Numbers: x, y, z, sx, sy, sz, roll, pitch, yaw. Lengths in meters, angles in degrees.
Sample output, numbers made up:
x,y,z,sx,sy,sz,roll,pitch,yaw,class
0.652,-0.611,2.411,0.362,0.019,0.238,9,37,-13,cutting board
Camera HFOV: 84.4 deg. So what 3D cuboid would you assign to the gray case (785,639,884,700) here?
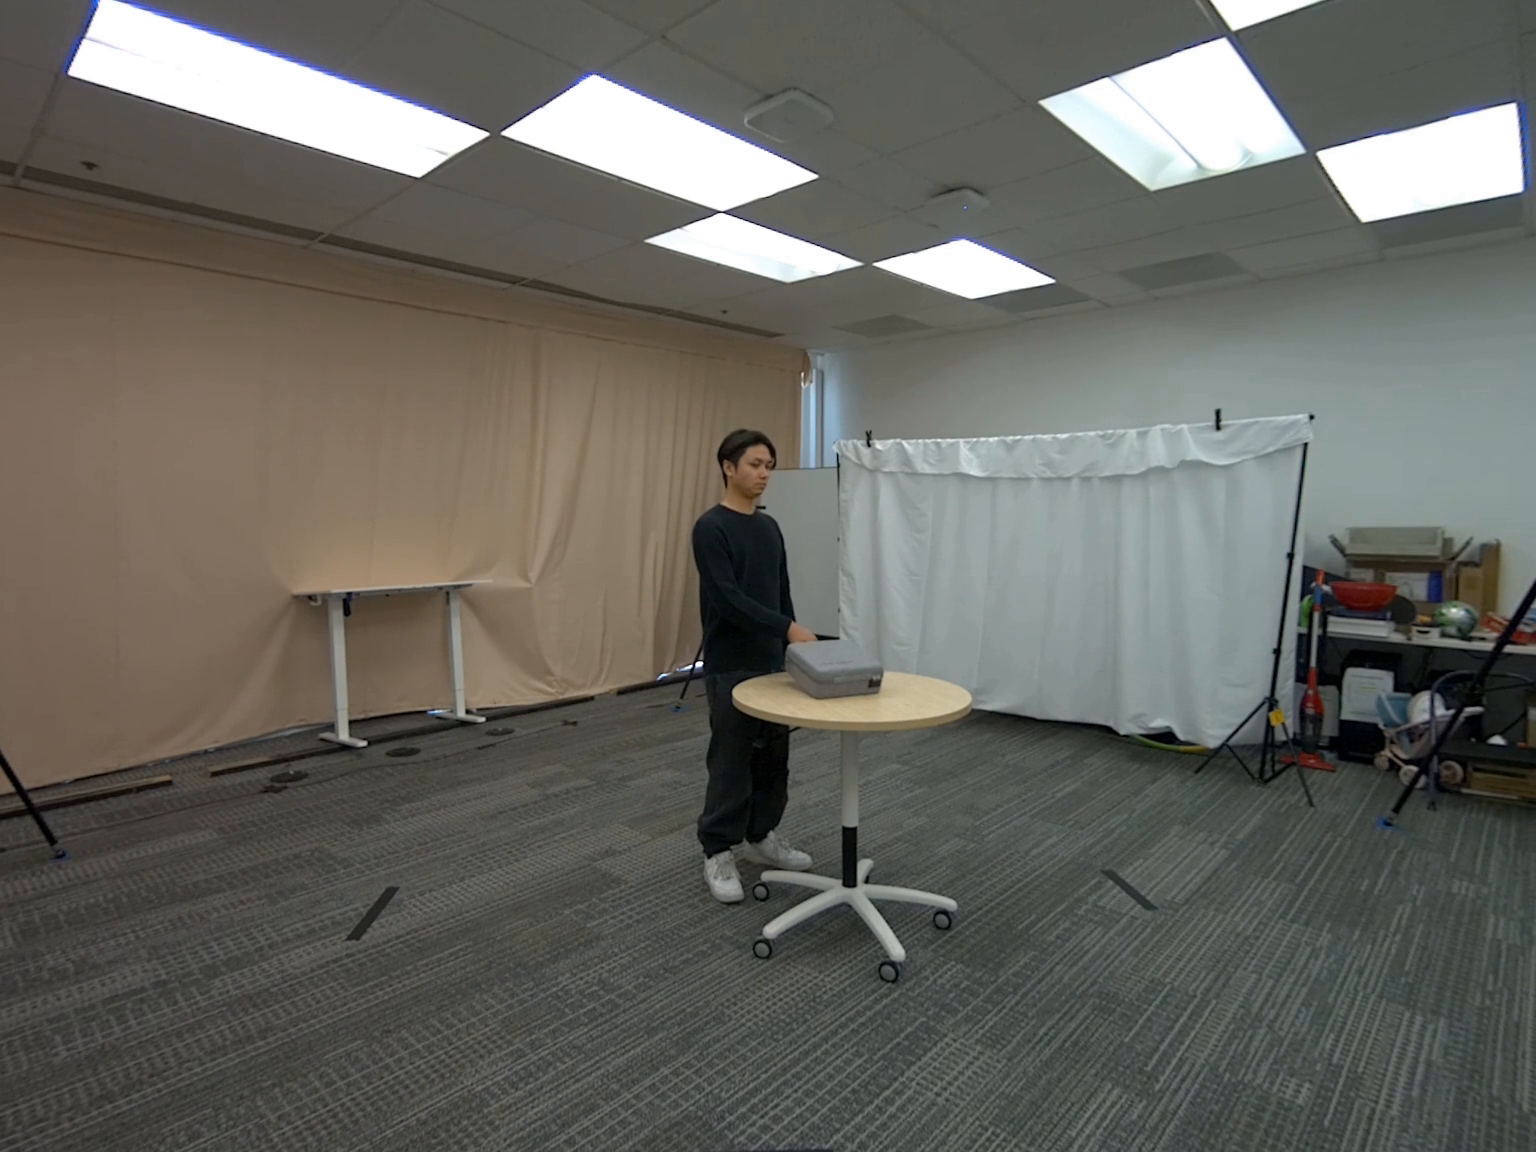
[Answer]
x,y,z,sx,sy,sz,roll,pitch,yaw,class
0.218,0.304,2.765,0.252,0.103,0.268,-2,17,-21,gray case
